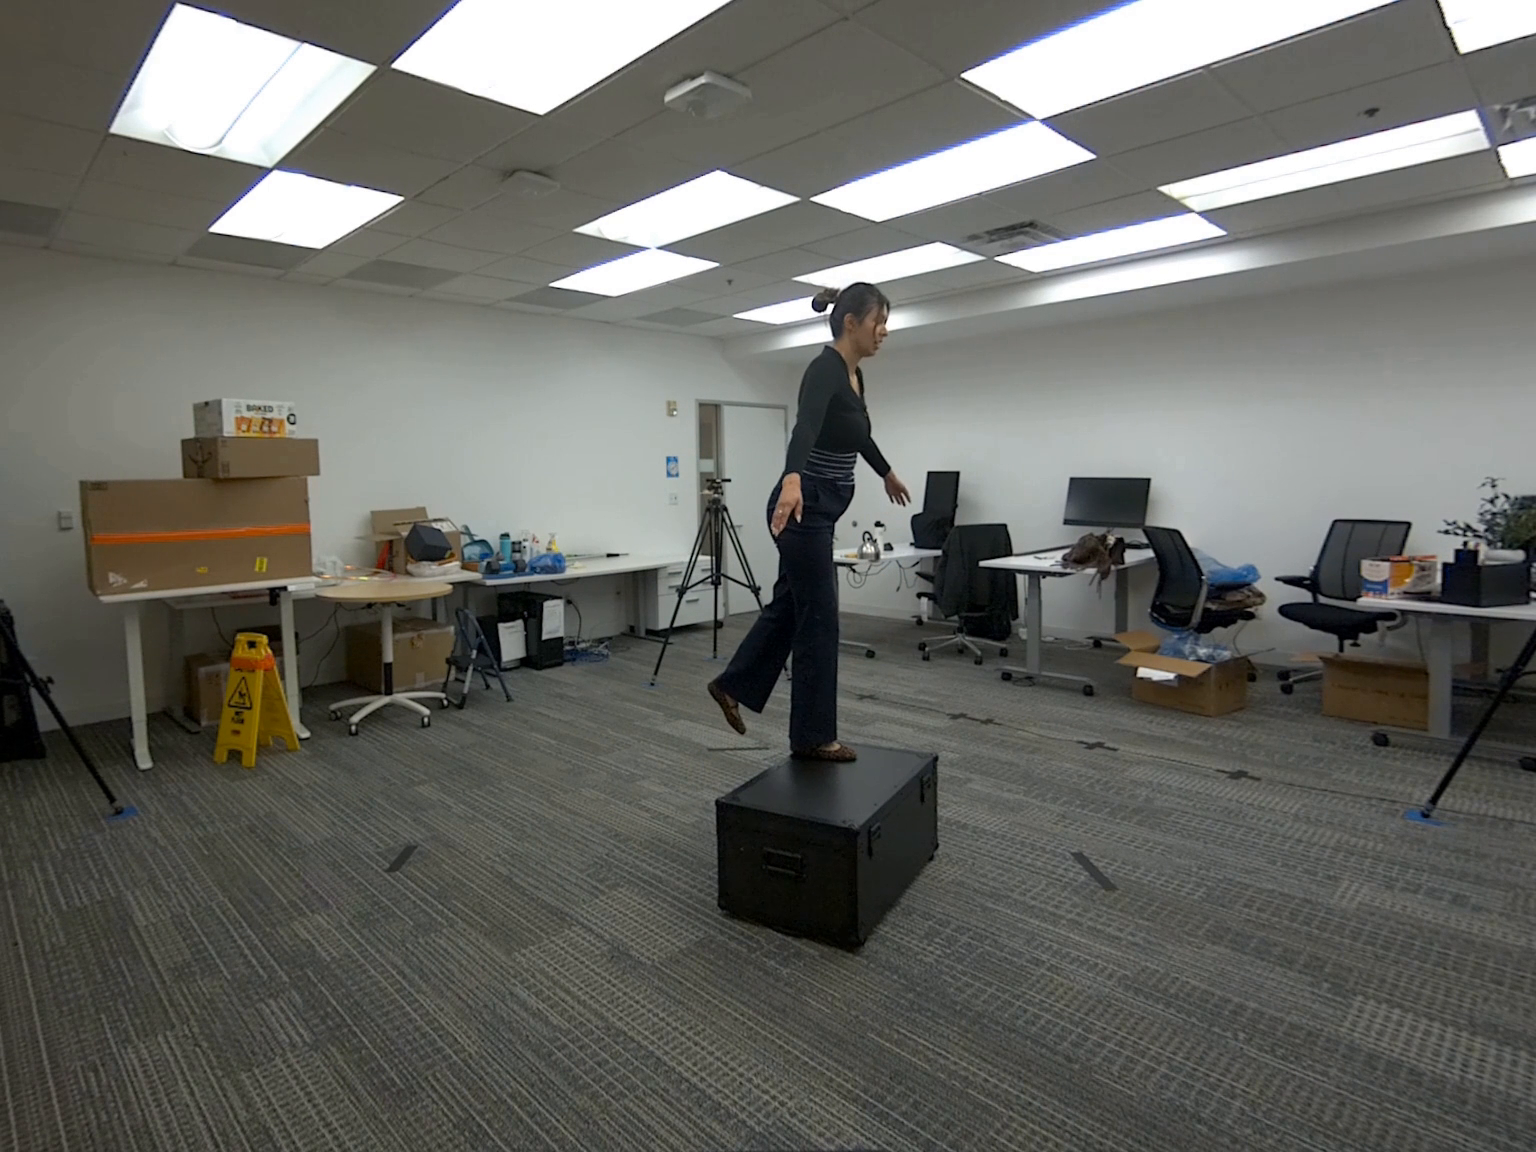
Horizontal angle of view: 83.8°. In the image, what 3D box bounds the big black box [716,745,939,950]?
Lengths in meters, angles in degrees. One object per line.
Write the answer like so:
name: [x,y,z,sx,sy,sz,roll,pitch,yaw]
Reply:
big black box: [0.252,0.867,2.959,0.534,0.394,0.843,1,6,29]
